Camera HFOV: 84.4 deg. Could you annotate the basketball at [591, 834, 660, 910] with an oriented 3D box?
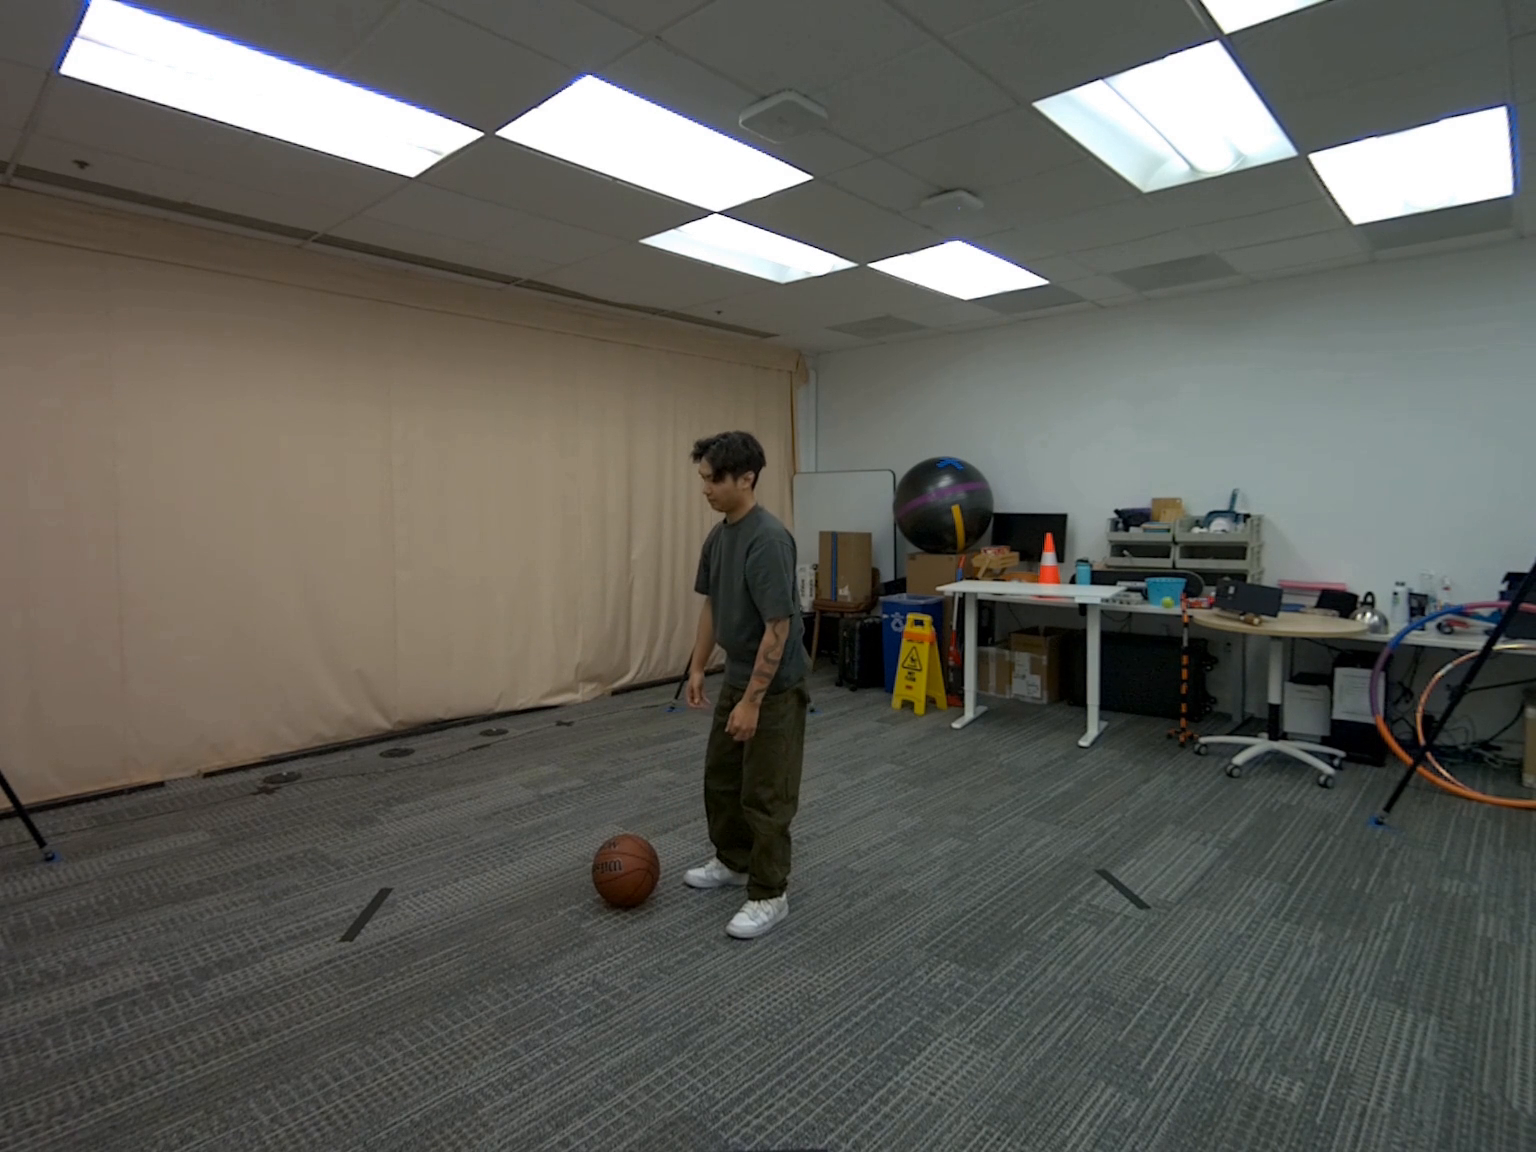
[{"bbox_3d":[-0.503,1.034,2.961,0.236,0.235,0.237,0,4,-2],"label":"basketball"}]
